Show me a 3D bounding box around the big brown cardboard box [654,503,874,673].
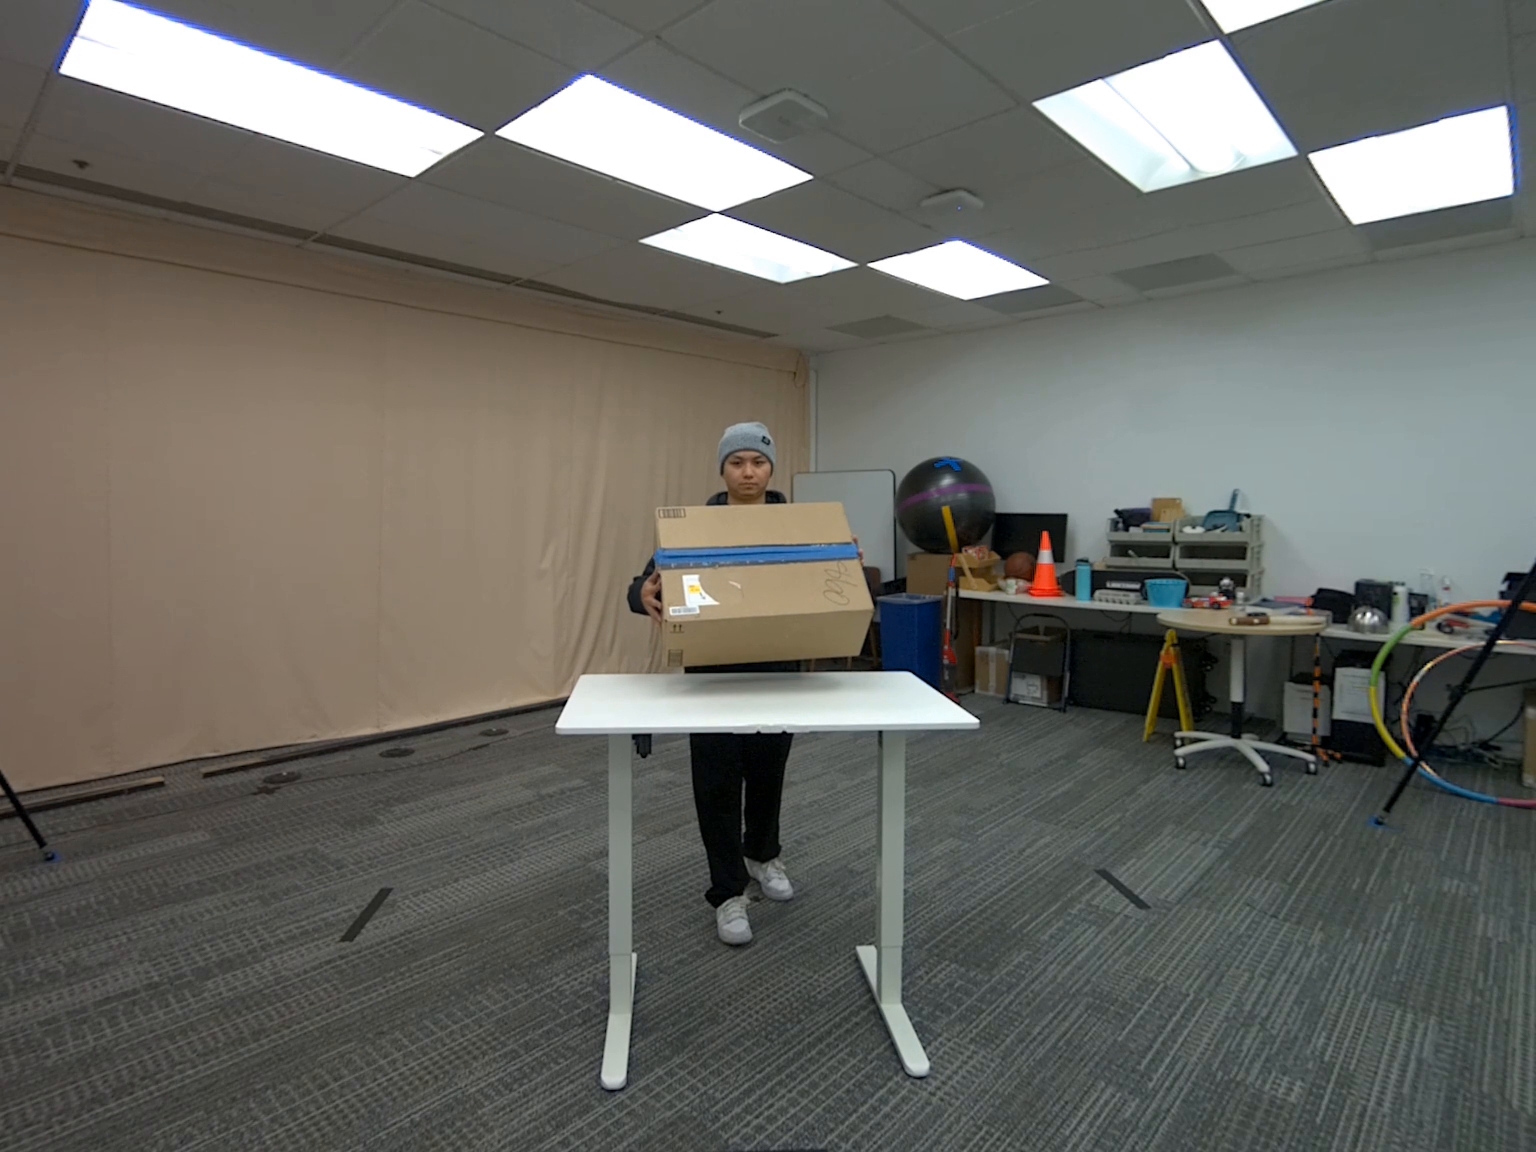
[{"bbox_3d":[-0.038,0.017,2.421,0.582,0.428,0.230,-2,-41,-10],"label":"big brown cardboard box"}]
